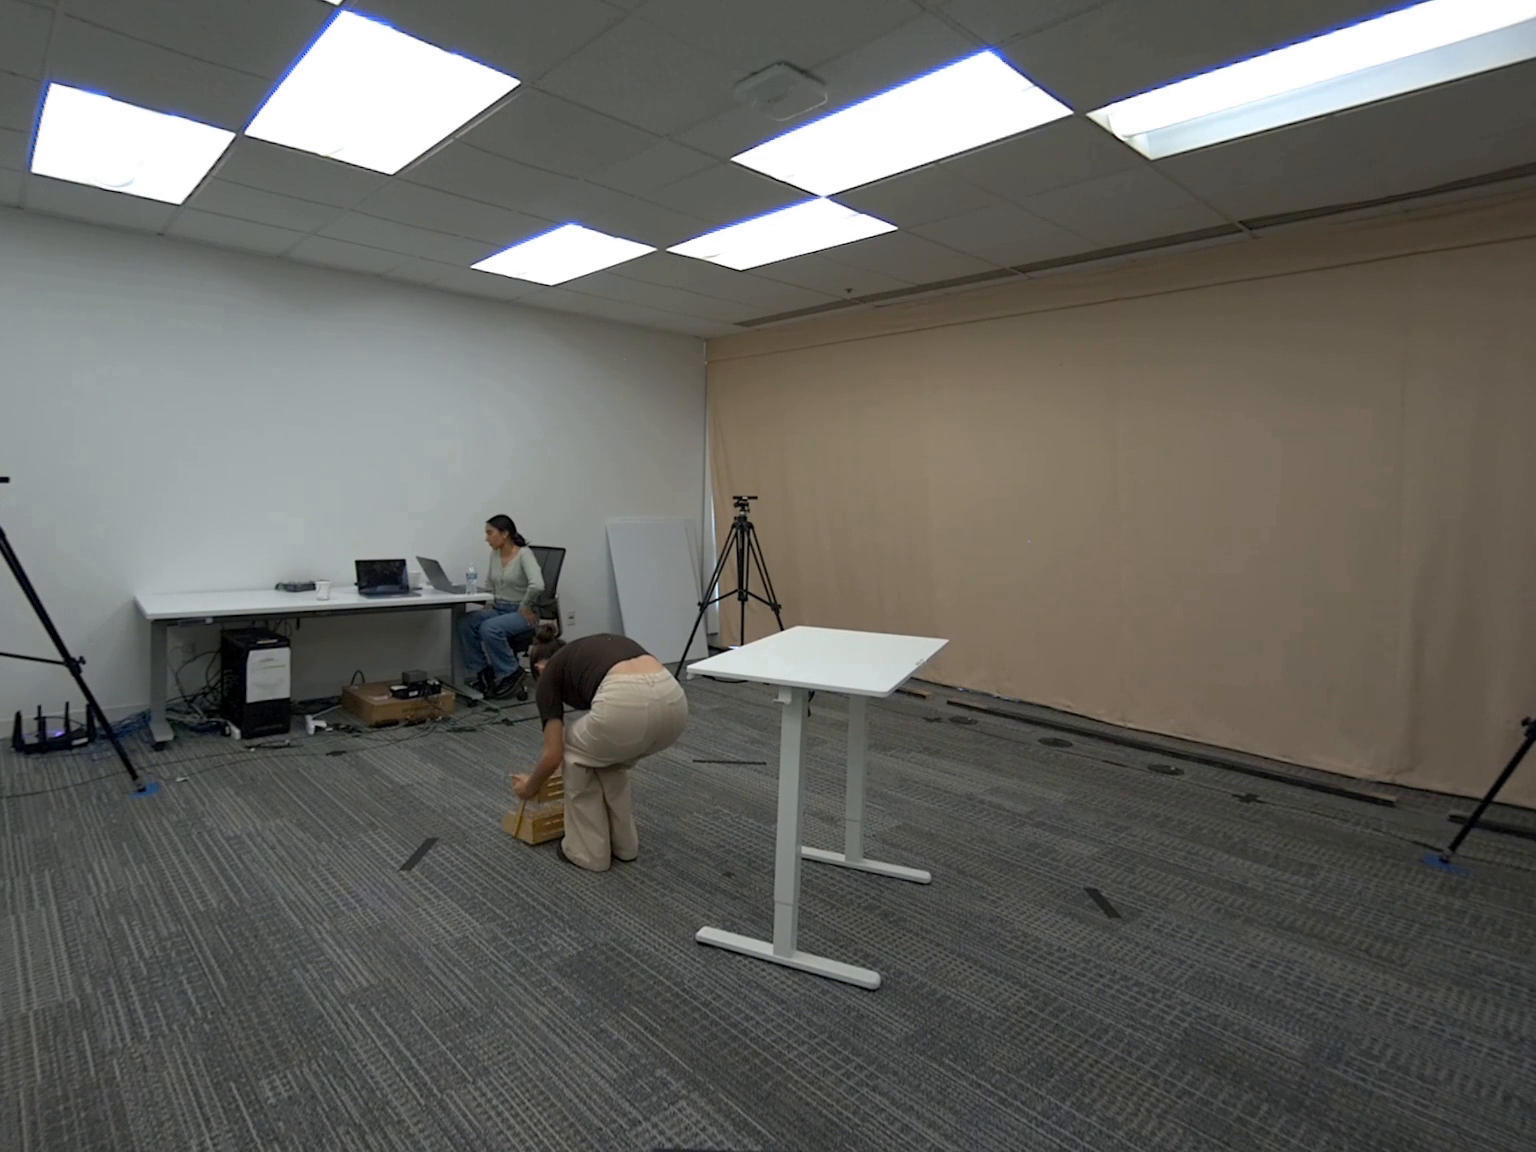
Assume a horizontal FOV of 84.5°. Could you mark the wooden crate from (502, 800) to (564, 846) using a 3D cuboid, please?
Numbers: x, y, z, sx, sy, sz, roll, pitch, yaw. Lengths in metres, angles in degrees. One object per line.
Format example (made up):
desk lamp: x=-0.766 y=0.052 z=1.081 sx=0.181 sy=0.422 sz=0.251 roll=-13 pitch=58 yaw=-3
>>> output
wooden crate: x=-0.899 y=0.913 z=3.467 sx=0.309 sy=0.273 sz=0.317 roll=2 pitch=3 yaw=45
